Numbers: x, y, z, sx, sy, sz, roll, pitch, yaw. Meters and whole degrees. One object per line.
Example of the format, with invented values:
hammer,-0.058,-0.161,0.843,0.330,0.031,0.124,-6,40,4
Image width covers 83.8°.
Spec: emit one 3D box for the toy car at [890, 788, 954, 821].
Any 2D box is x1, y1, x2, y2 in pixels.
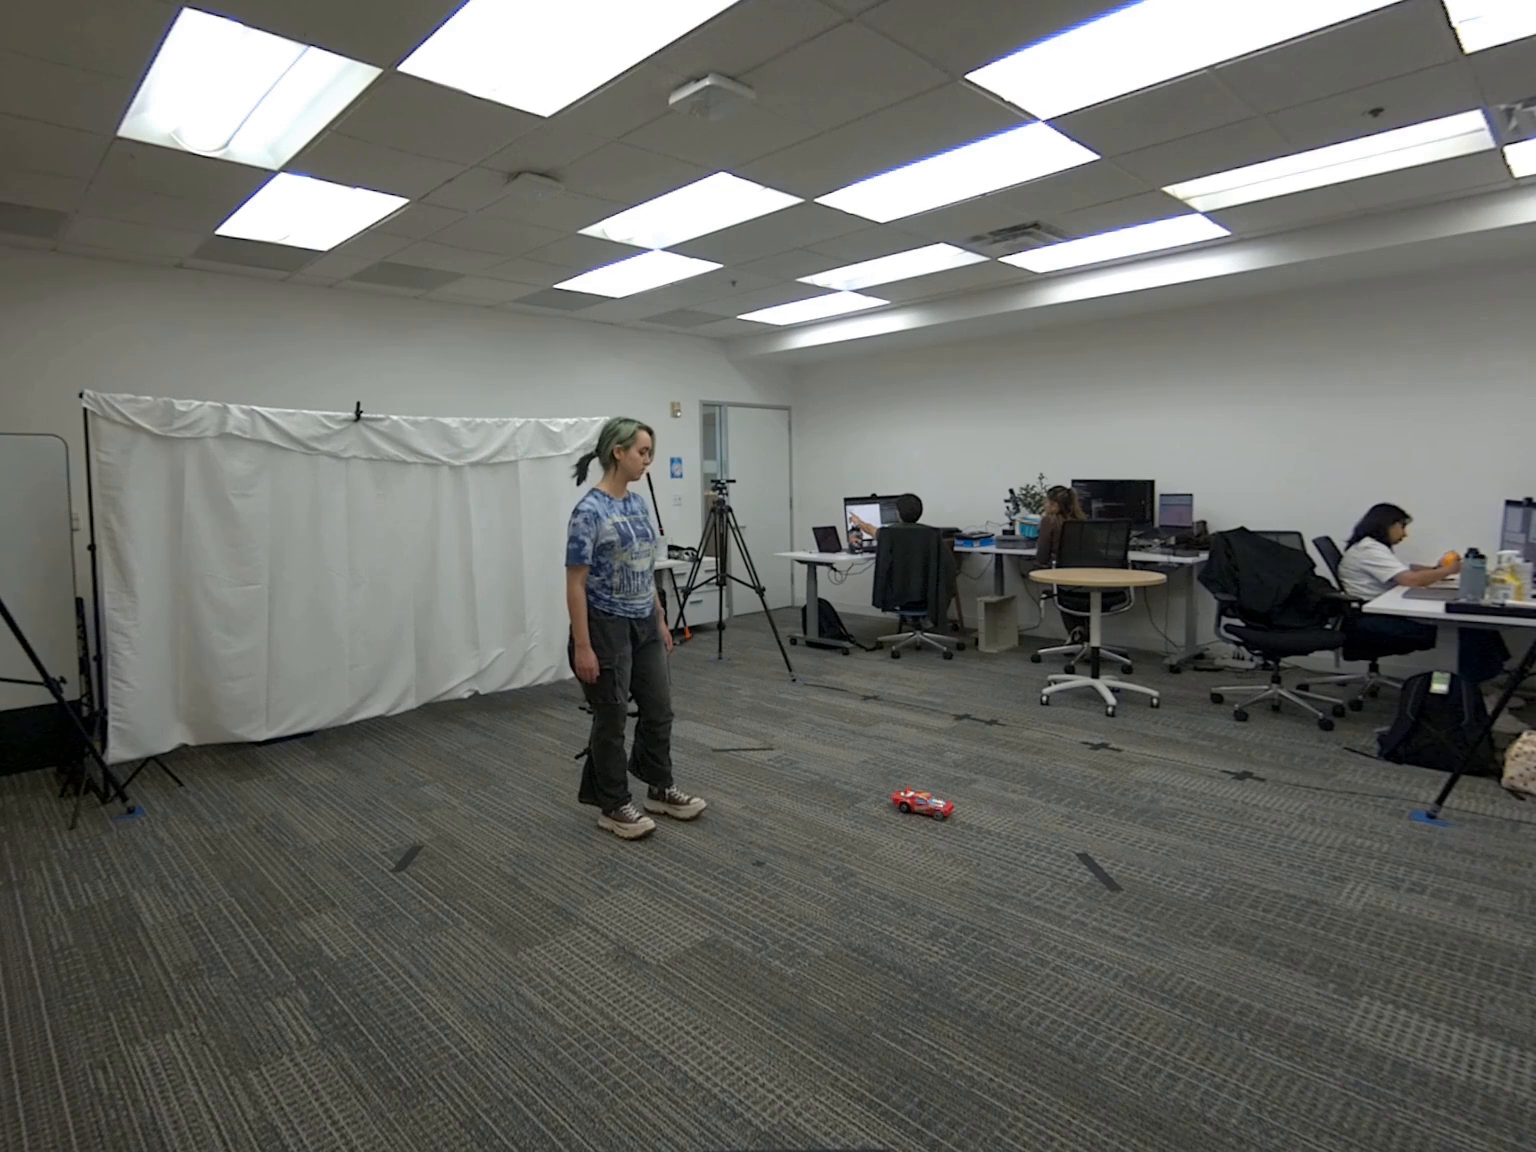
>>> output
toy car,0.634,0.948,3.561,0.263,0.082,0.127,16,14,32
